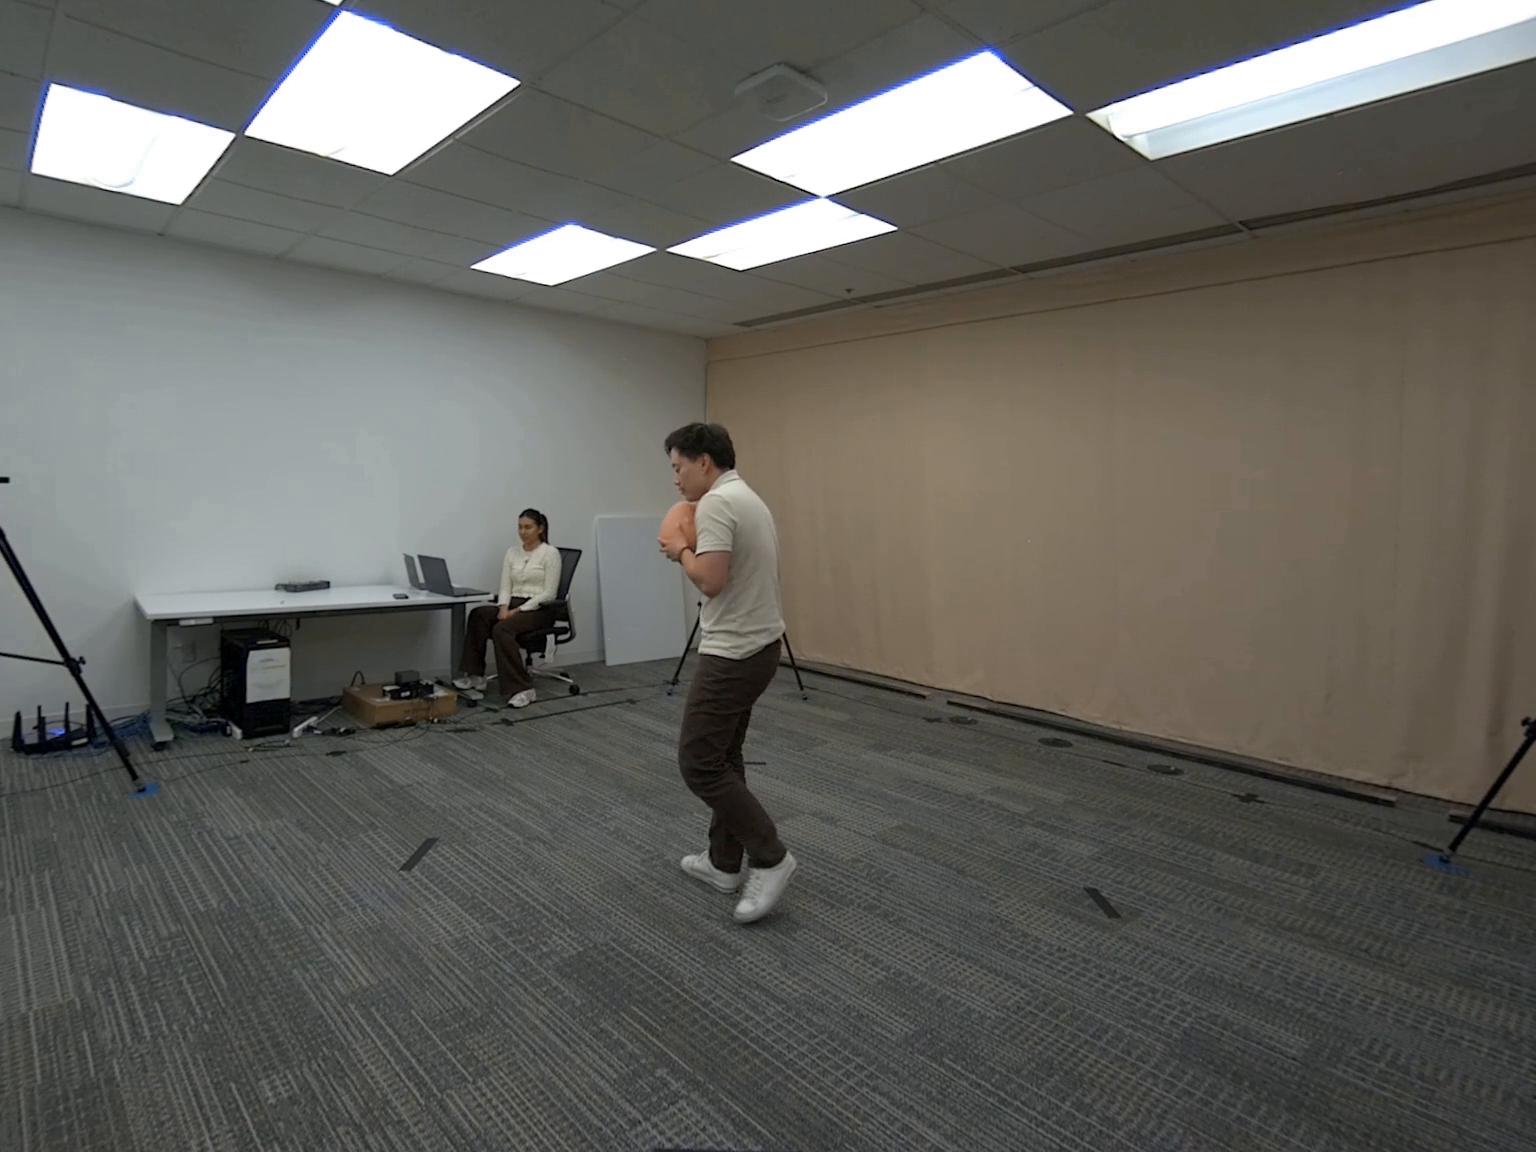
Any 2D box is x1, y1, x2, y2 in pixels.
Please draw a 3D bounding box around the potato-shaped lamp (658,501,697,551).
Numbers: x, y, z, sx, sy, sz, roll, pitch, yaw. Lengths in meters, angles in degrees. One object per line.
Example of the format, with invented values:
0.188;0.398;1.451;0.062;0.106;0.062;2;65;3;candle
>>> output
-0.300;-0.159;3.015;0.176;0.198;0.160;16;-4;35;potato-shaped lamp
